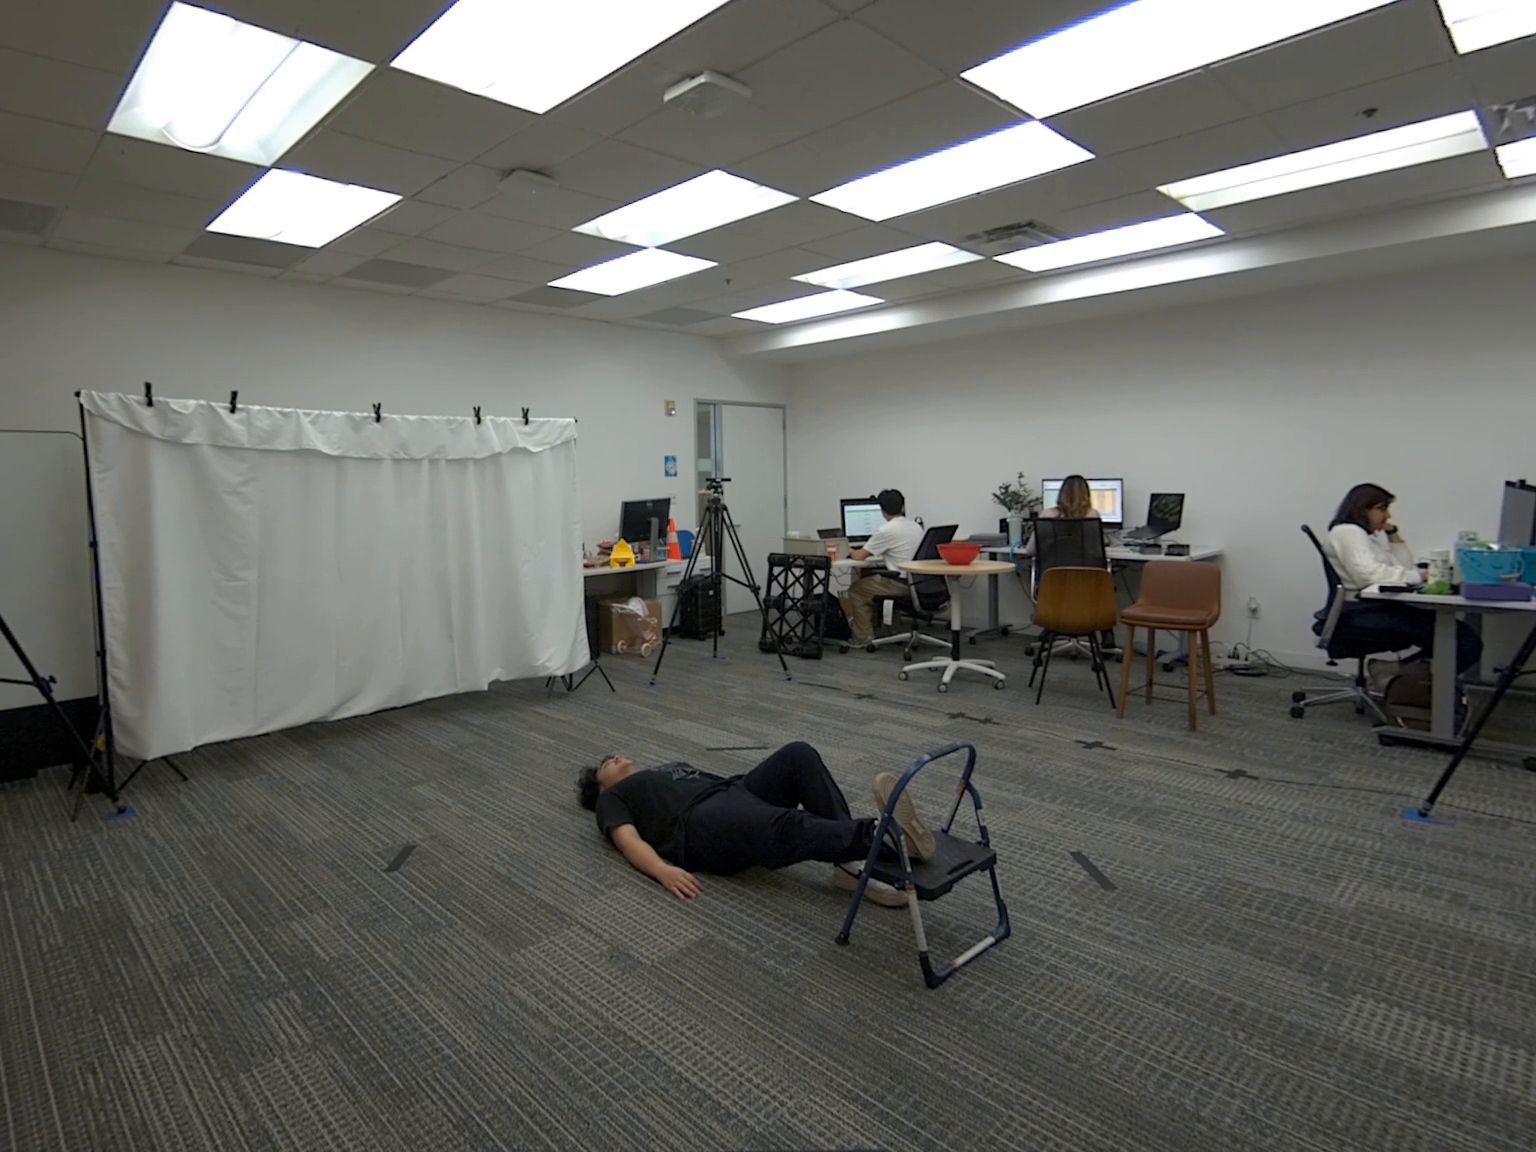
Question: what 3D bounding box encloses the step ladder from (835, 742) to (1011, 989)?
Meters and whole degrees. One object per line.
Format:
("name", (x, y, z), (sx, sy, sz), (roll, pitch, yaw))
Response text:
("step ladder", (0.475, 0.799, 2.557), (0.419, 0.603, 0.360), (-6, 6, -44))
